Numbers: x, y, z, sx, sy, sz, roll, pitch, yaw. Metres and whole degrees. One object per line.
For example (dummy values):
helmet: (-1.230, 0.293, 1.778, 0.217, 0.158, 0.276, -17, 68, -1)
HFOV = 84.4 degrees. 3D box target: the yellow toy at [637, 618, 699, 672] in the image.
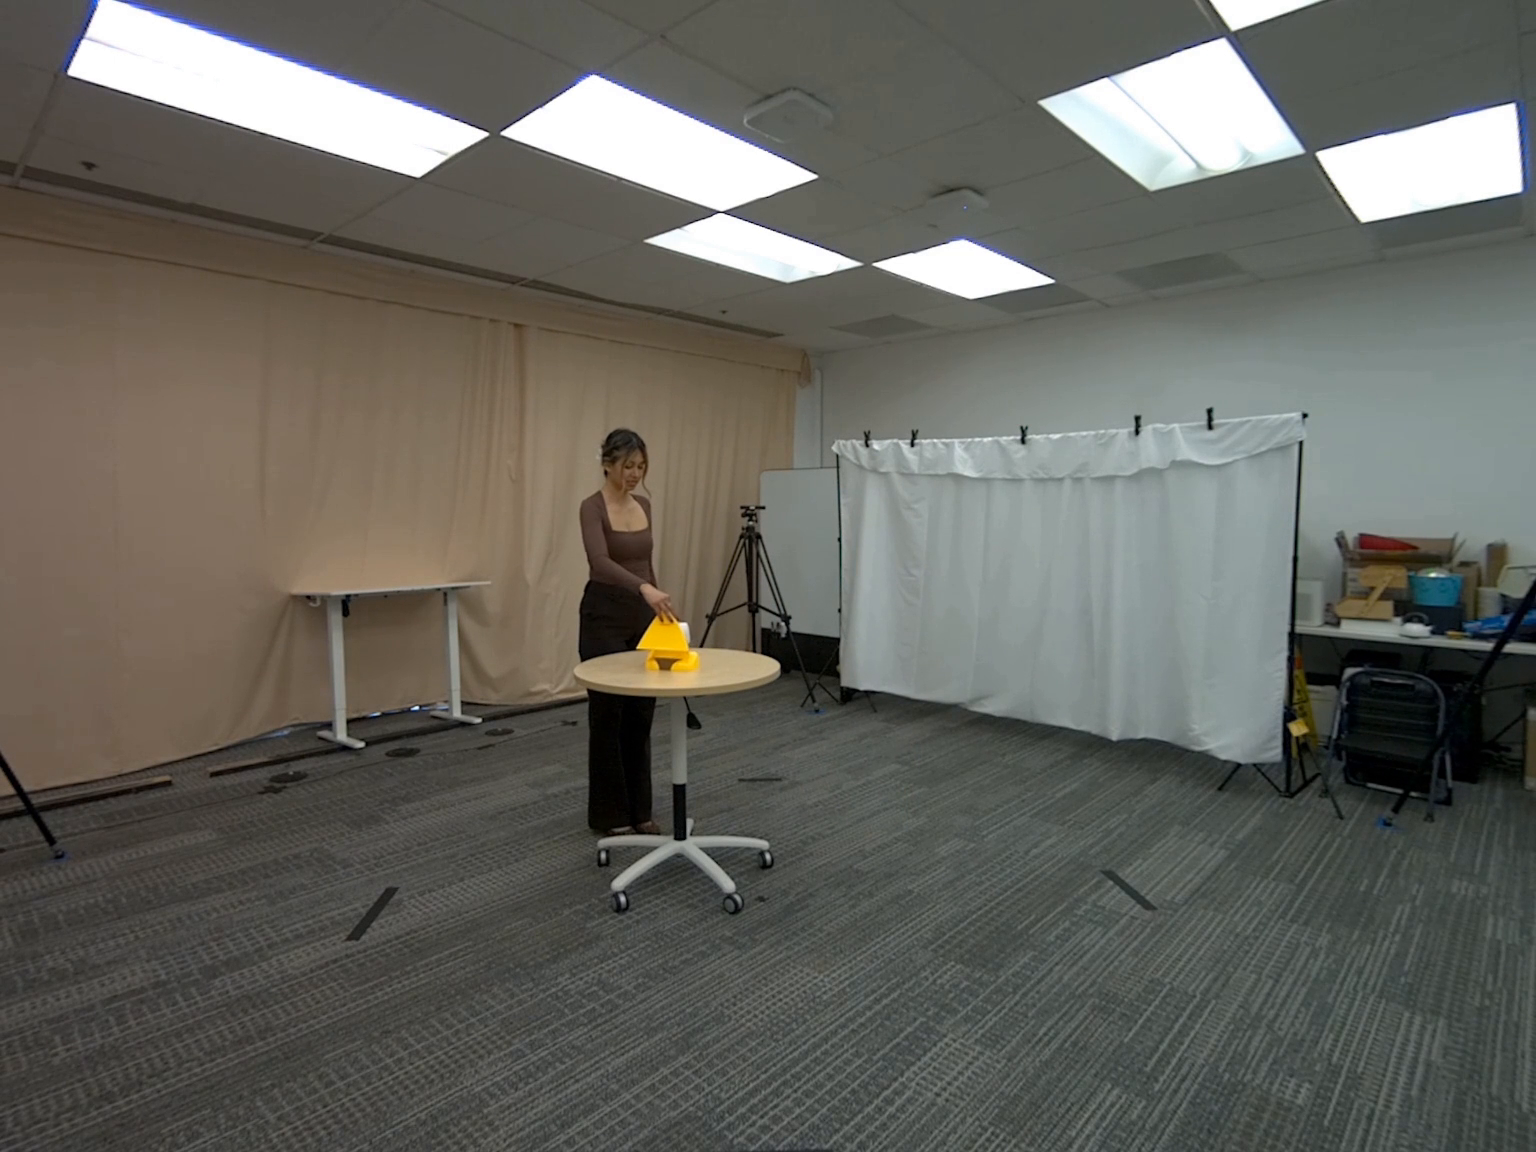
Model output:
yellow toy: (-0.359, 0.224, 3.126, 0.209, 0.230, 0.190, 1, 4, 18)
